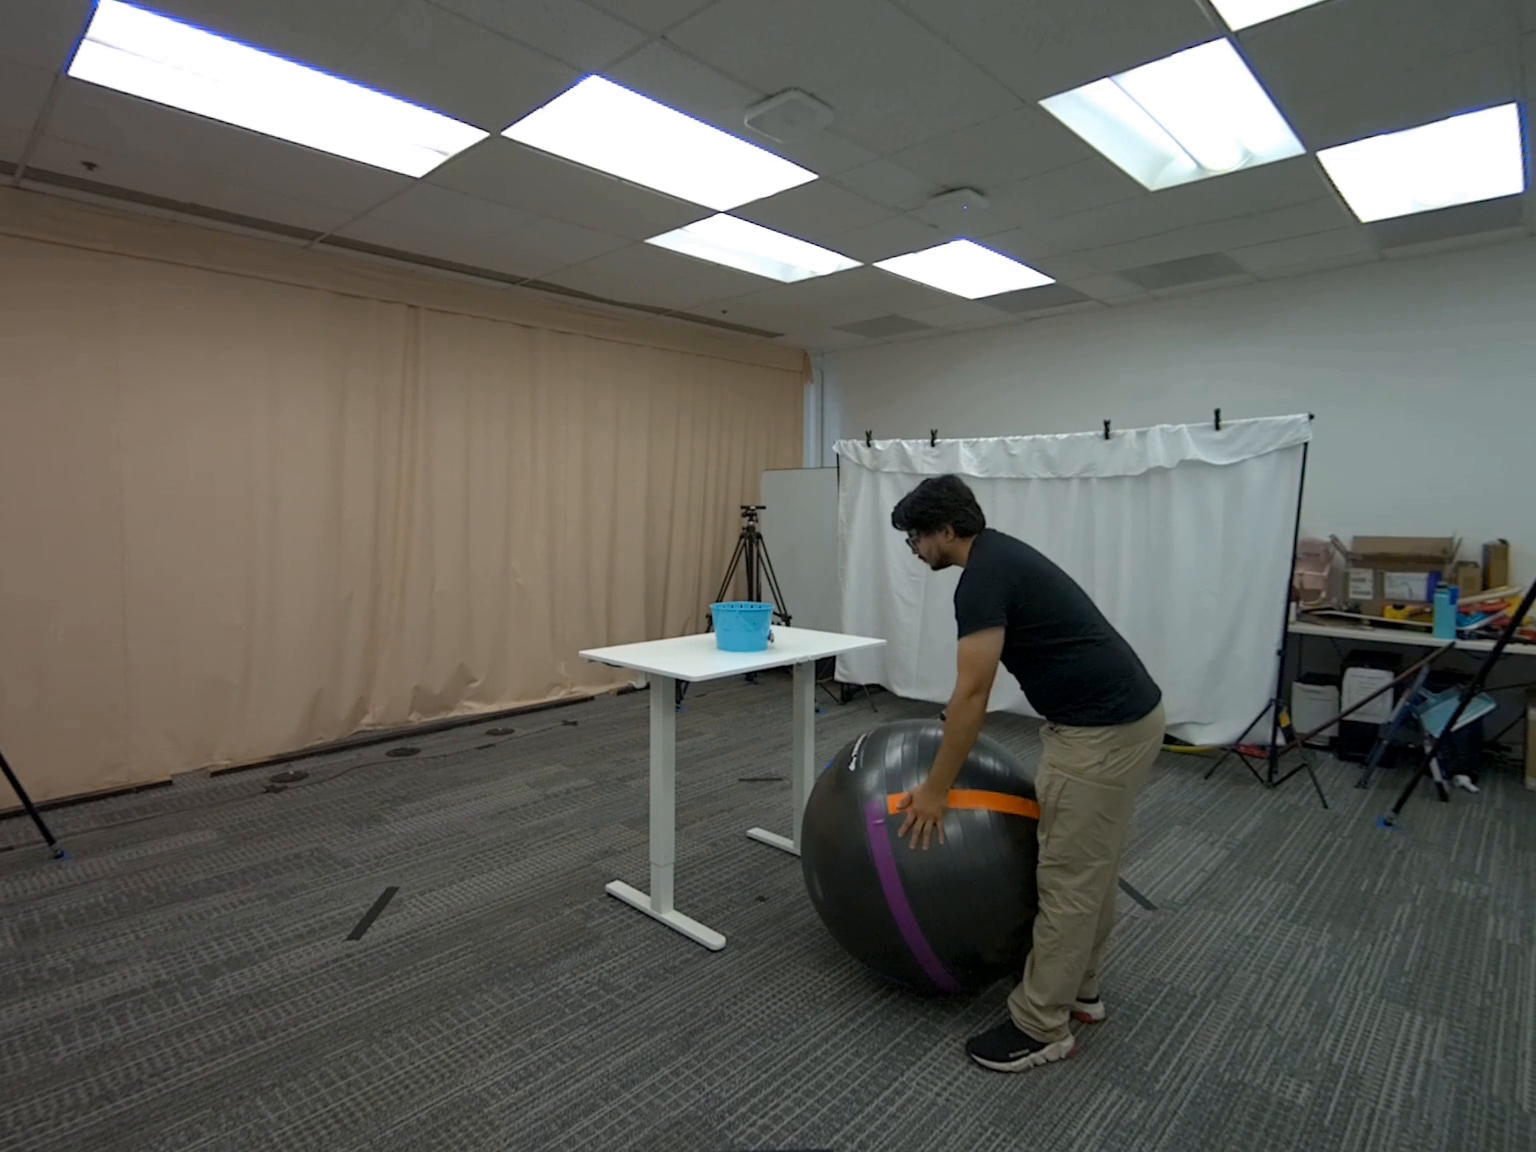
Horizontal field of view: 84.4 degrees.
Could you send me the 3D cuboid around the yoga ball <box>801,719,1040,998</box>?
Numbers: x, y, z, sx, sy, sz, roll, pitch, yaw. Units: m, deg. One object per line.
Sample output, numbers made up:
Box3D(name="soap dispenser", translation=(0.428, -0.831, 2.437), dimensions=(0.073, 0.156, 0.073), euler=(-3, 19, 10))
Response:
Box3D(name="yoga ball", translation=(0.492, 0.808, 2.505), dimensions=(0.757, 0.756, 0.760), euler=(0, 4, -2))
